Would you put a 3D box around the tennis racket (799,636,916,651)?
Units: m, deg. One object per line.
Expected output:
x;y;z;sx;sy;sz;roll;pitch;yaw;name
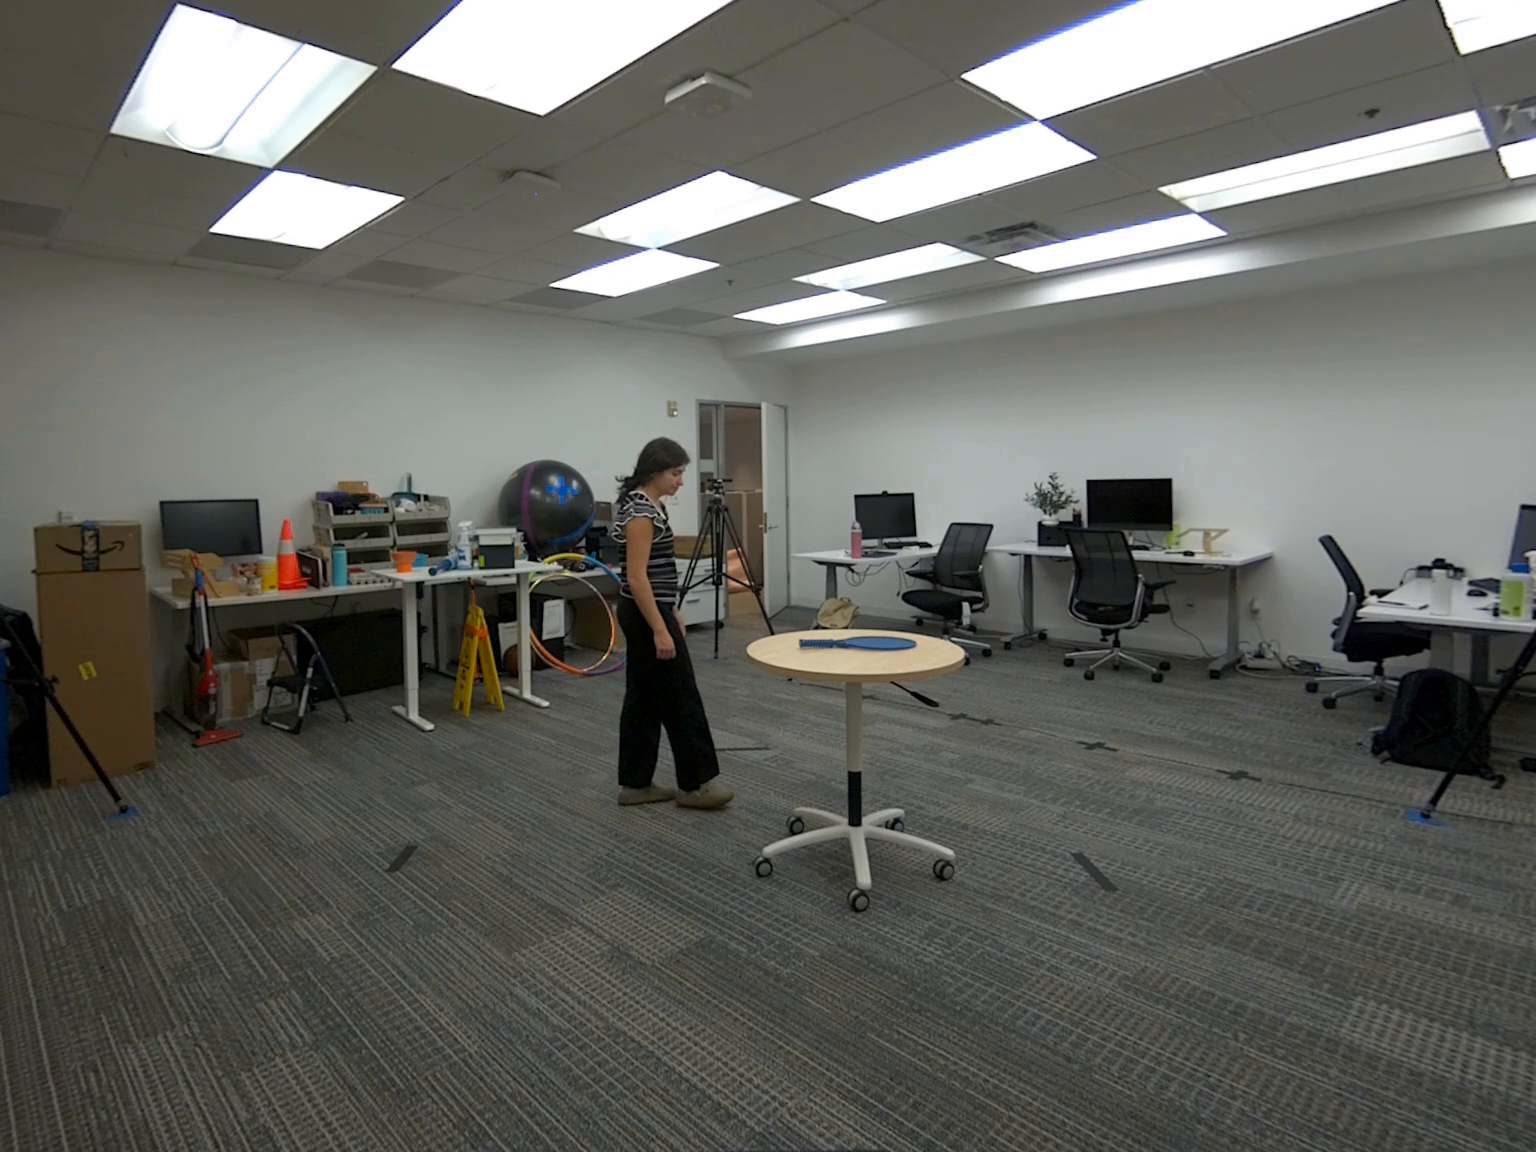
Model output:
0.338;0.247;3.106;0.429;0.031;0.217;-1;7;-10;tennis racket
